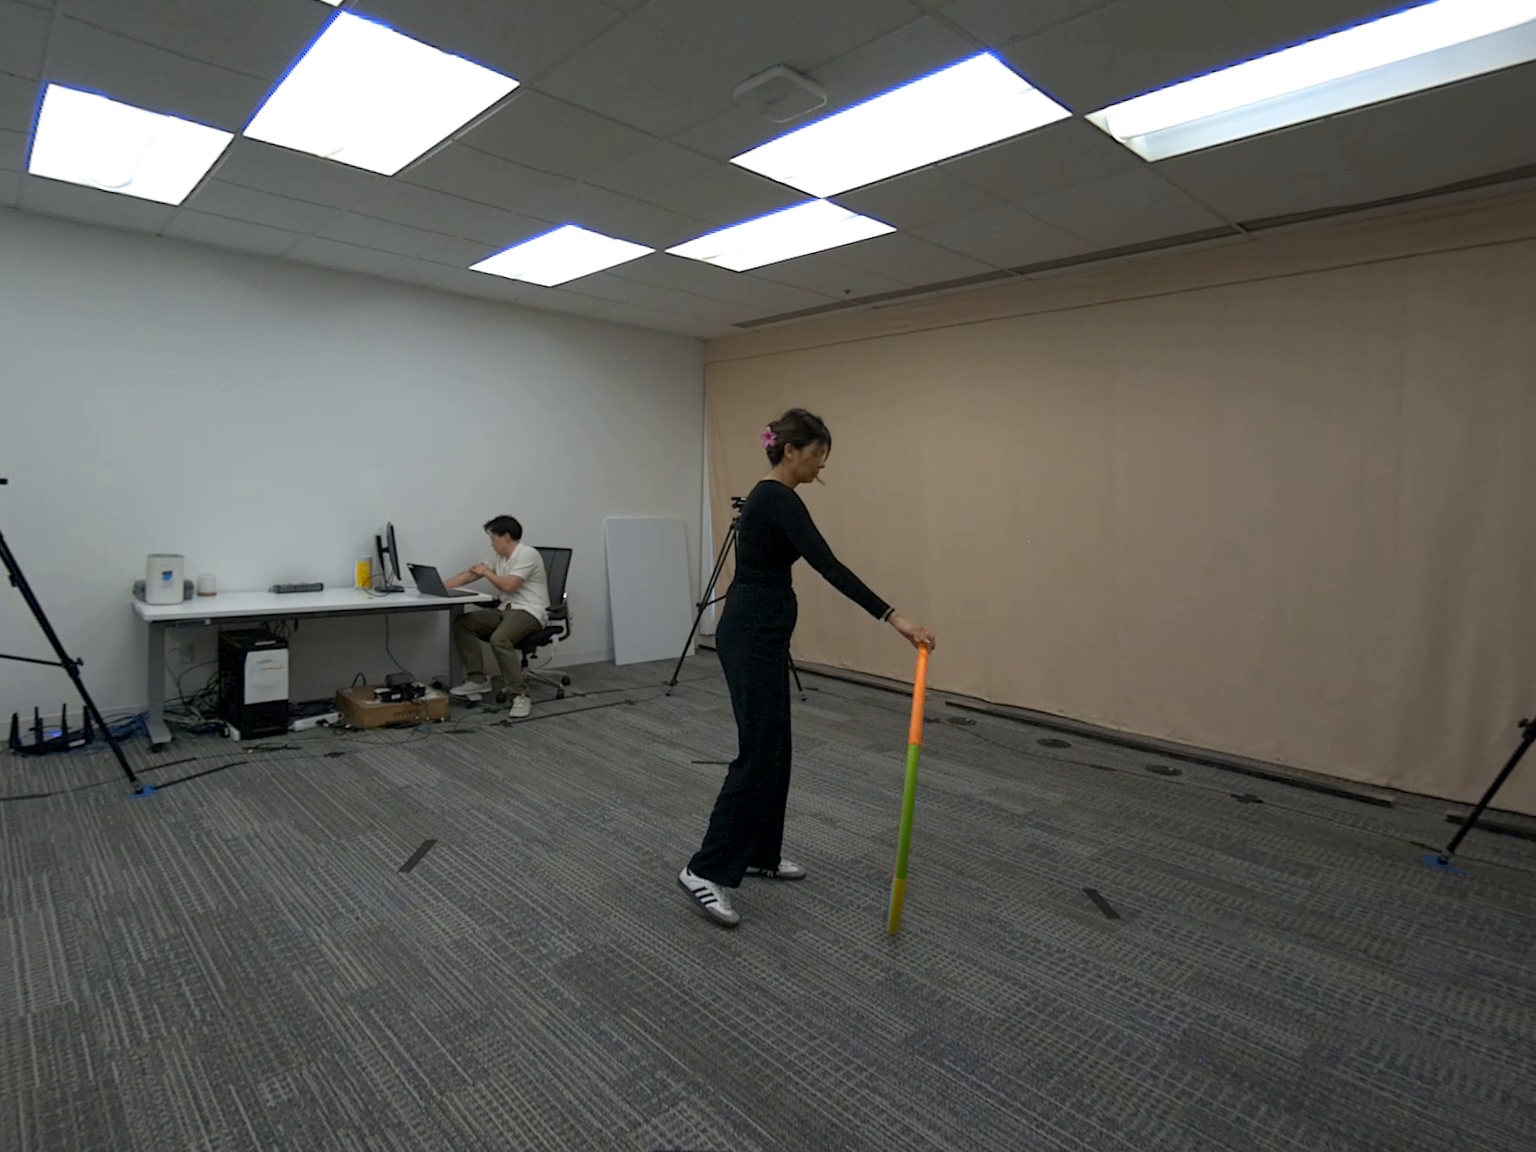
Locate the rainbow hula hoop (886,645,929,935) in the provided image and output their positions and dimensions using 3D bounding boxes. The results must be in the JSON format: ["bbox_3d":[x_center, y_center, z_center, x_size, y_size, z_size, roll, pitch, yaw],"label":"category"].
[{"bbox_3d":[0.448,0.663,2.790,0.036,0.975,0.971,7,5,10],"label":"rainbow hula hoop"}]
